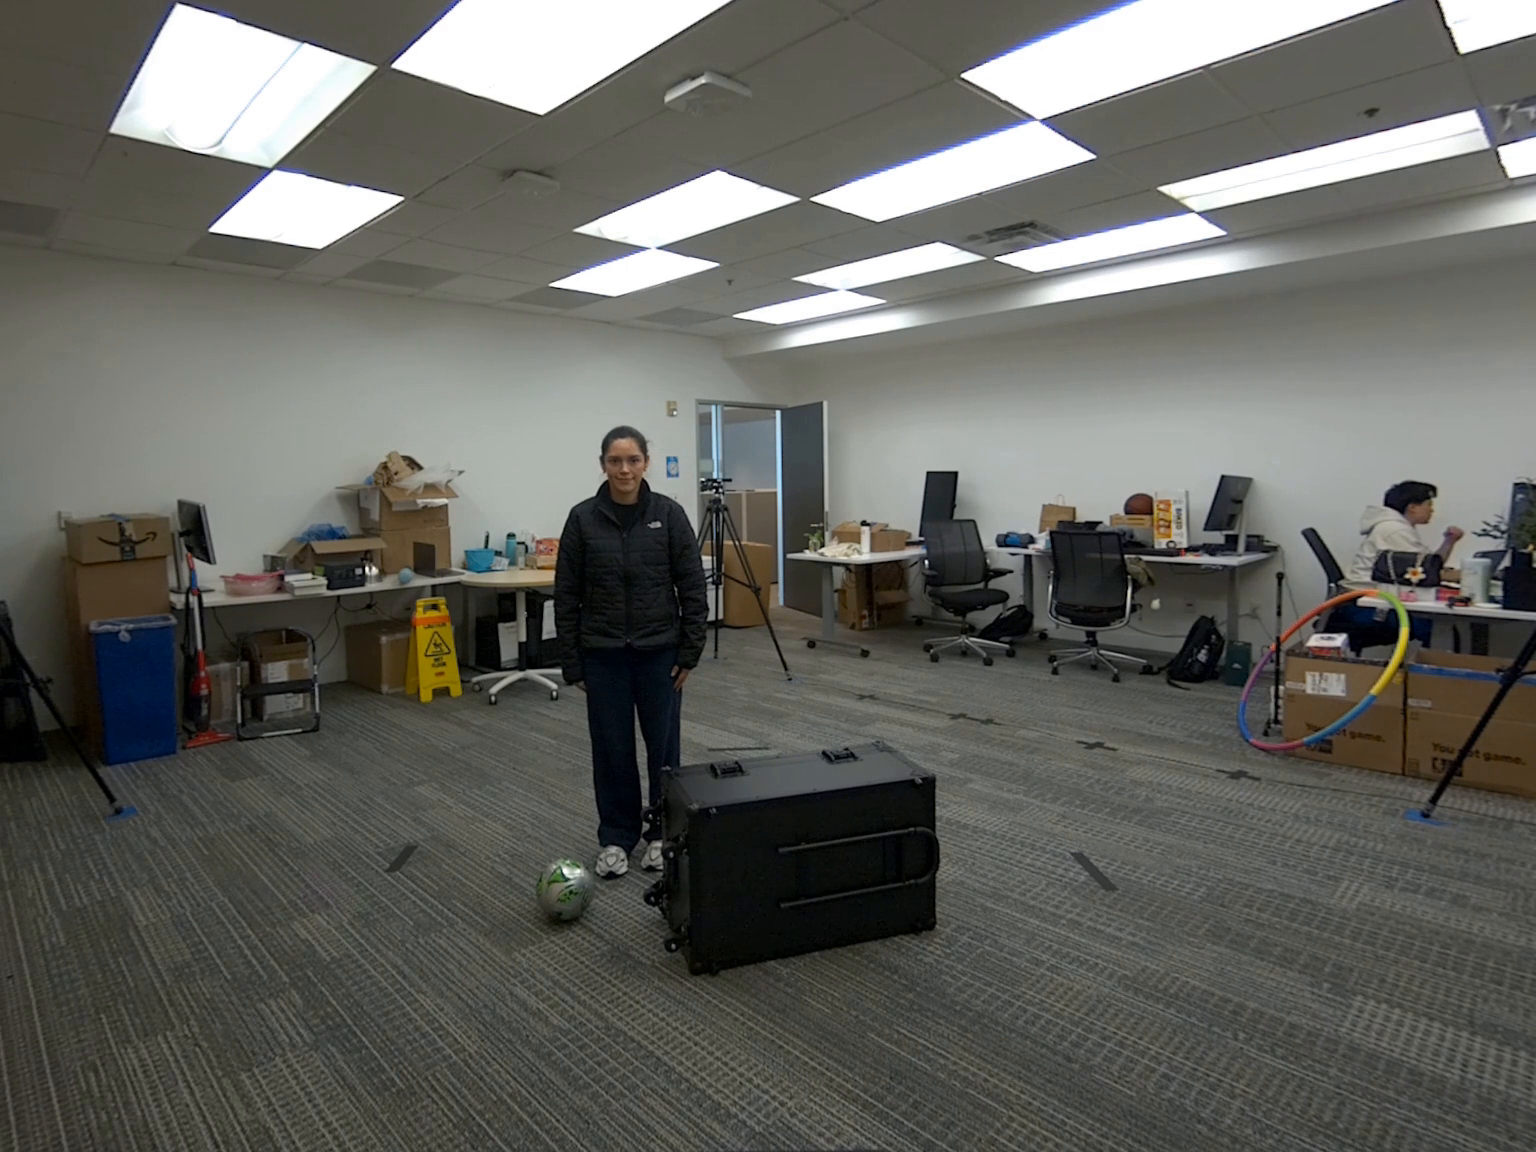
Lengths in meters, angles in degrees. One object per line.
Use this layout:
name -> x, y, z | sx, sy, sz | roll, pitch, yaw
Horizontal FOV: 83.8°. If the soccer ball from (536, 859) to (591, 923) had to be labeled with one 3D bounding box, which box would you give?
soccer ball -> -0.649, 1.014, 2.745 | 0.187, 0.187, 0.188 | -1, 5, -2
